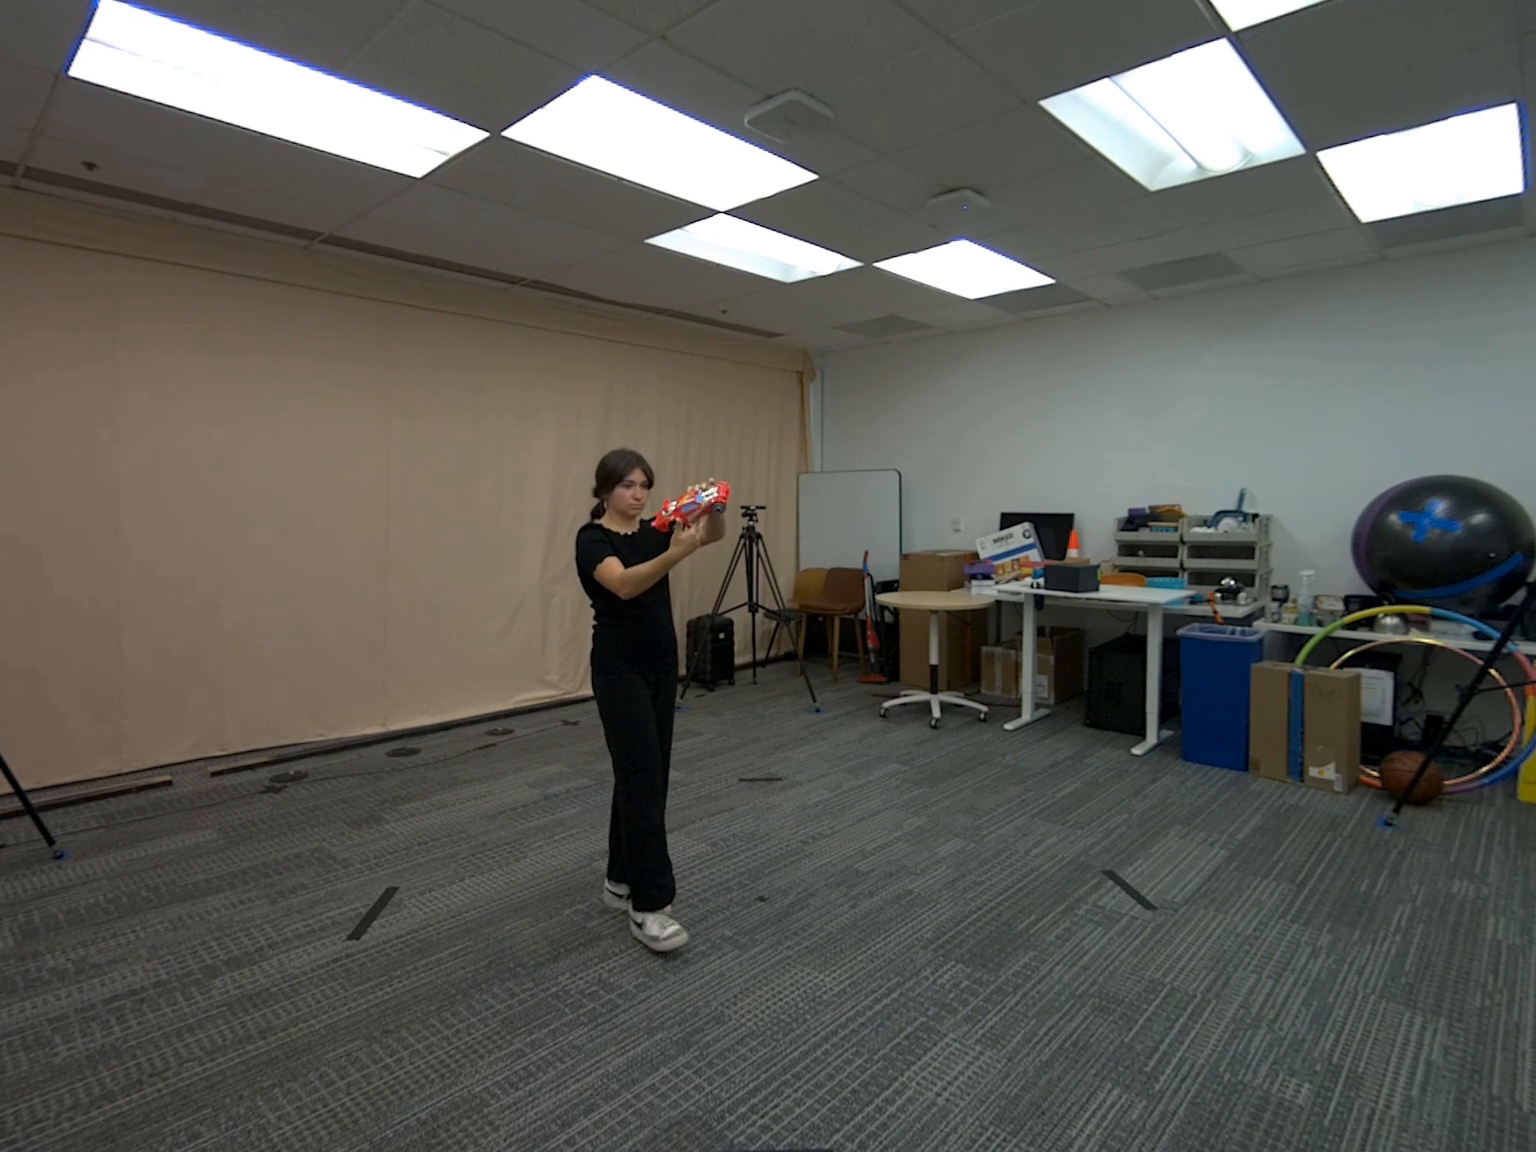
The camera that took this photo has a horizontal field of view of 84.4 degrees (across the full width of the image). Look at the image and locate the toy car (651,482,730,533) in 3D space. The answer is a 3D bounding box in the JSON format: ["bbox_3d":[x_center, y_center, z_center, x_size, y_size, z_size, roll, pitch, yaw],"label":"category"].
[{"bbox_3d":[-0.222,-0.198,2.500,0.258,0.081,0.132,-14,35,16],"label":"toy car"}]
